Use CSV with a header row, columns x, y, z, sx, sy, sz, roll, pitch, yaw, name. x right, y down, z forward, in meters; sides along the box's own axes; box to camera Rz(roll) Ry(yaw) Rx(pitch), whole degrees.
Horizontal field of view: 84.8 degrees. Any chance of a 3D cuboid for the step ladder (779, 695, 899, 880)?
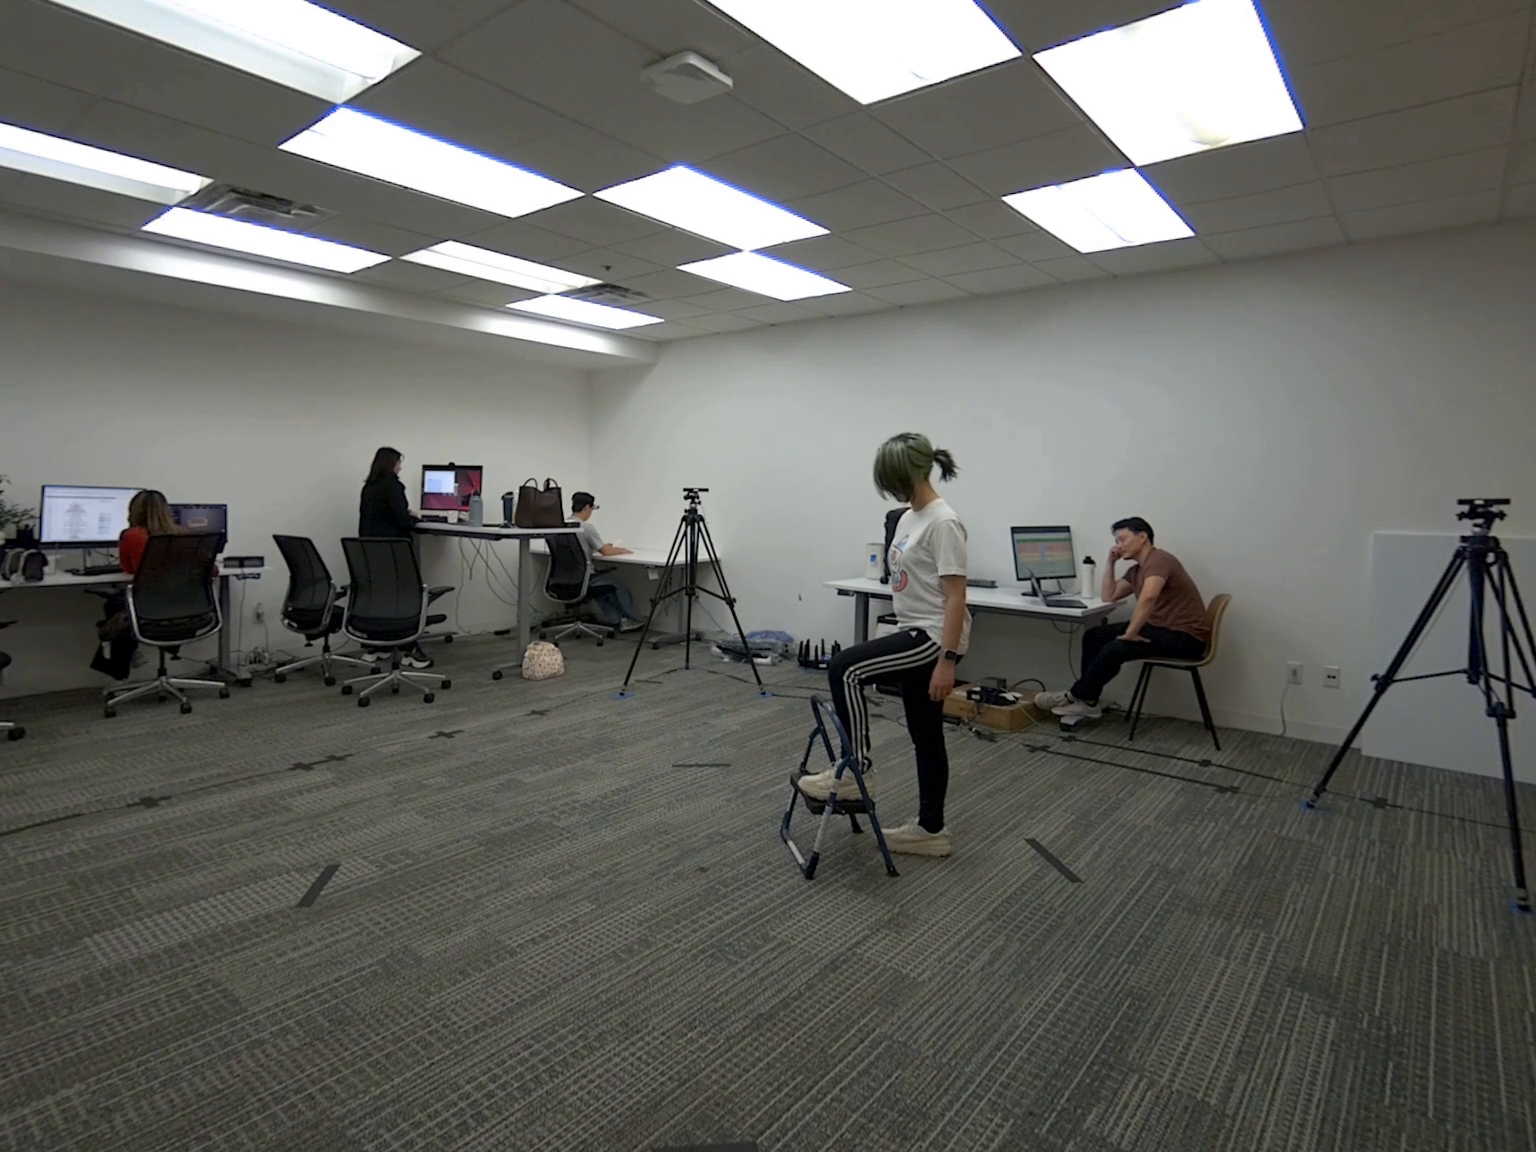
x,y,z,sx,sy,sz,roll,pitch,yaw,name
0.260,0.769,3.258,0.345,0.604,0.437,1,3,-12,step ladder
